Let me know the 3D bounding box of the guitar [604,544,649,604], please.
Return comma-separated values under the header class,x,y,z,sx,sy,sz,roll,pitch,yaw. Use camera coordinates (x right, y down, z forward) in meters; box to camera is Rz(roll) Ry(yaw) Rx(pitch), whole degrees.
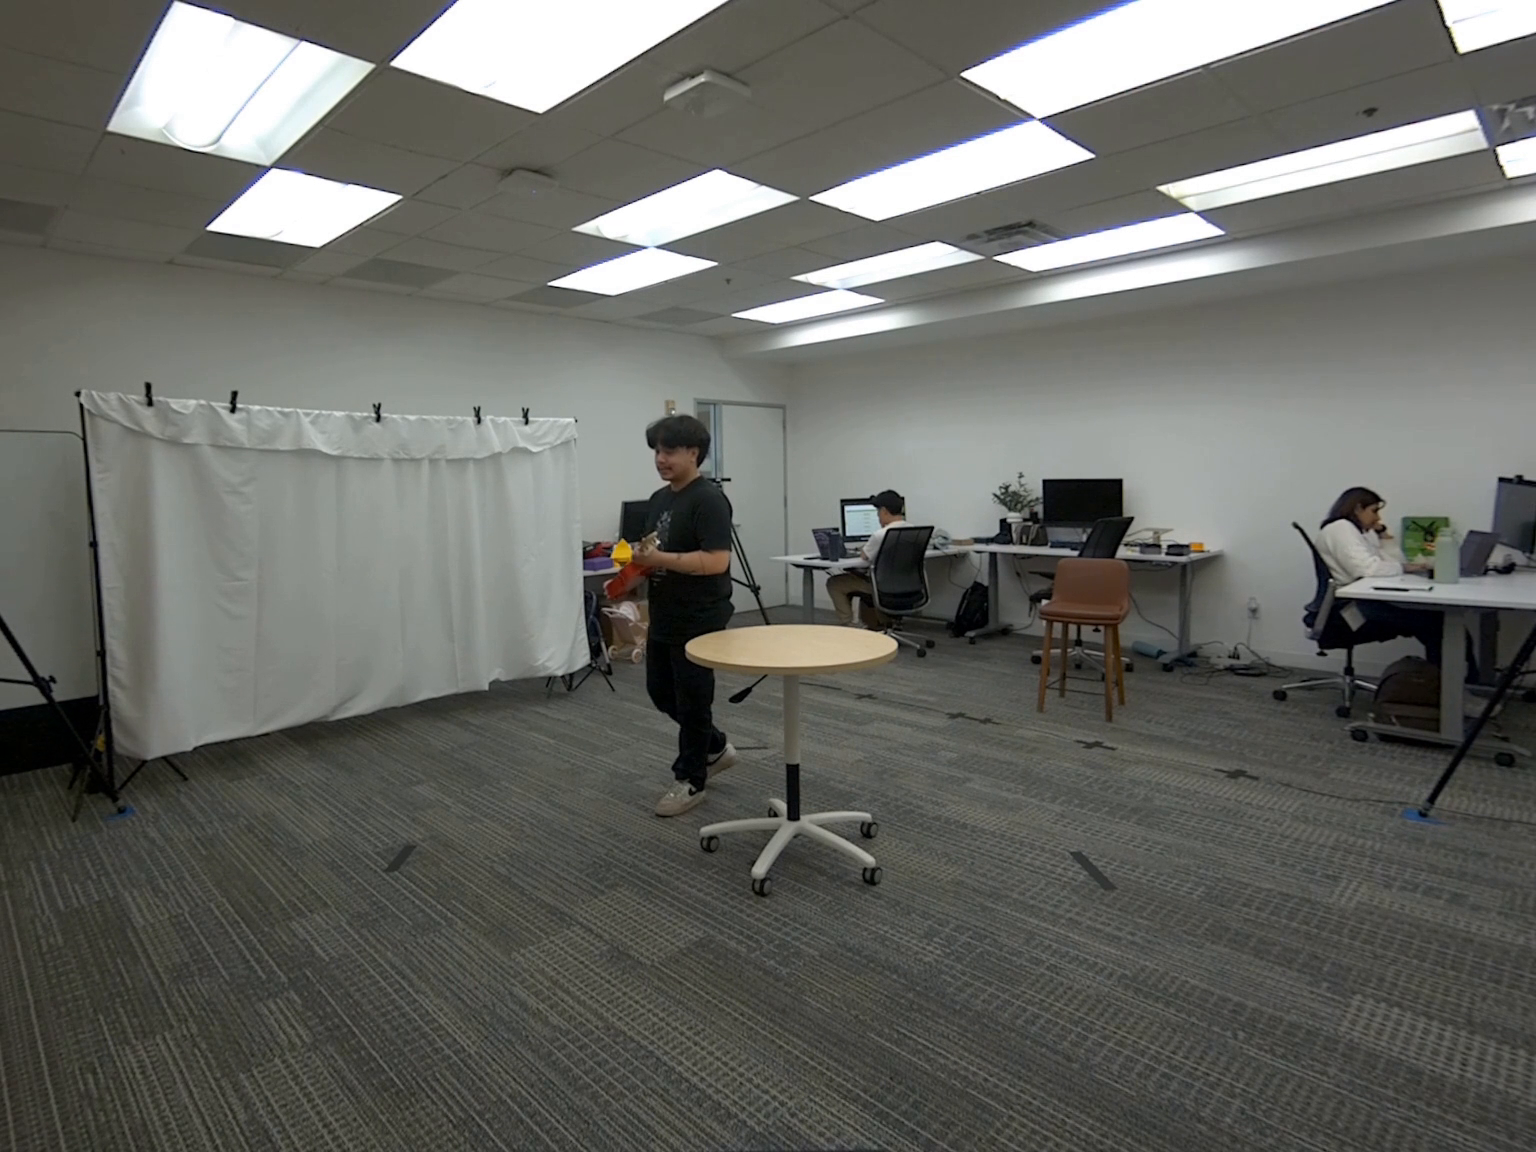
class,x,y,z,sx,sy,sz,roll,pitch,yaw
guitar,-0.522,-0.029,3.400,0.192,0.071,0.498,-34,-3,-23
